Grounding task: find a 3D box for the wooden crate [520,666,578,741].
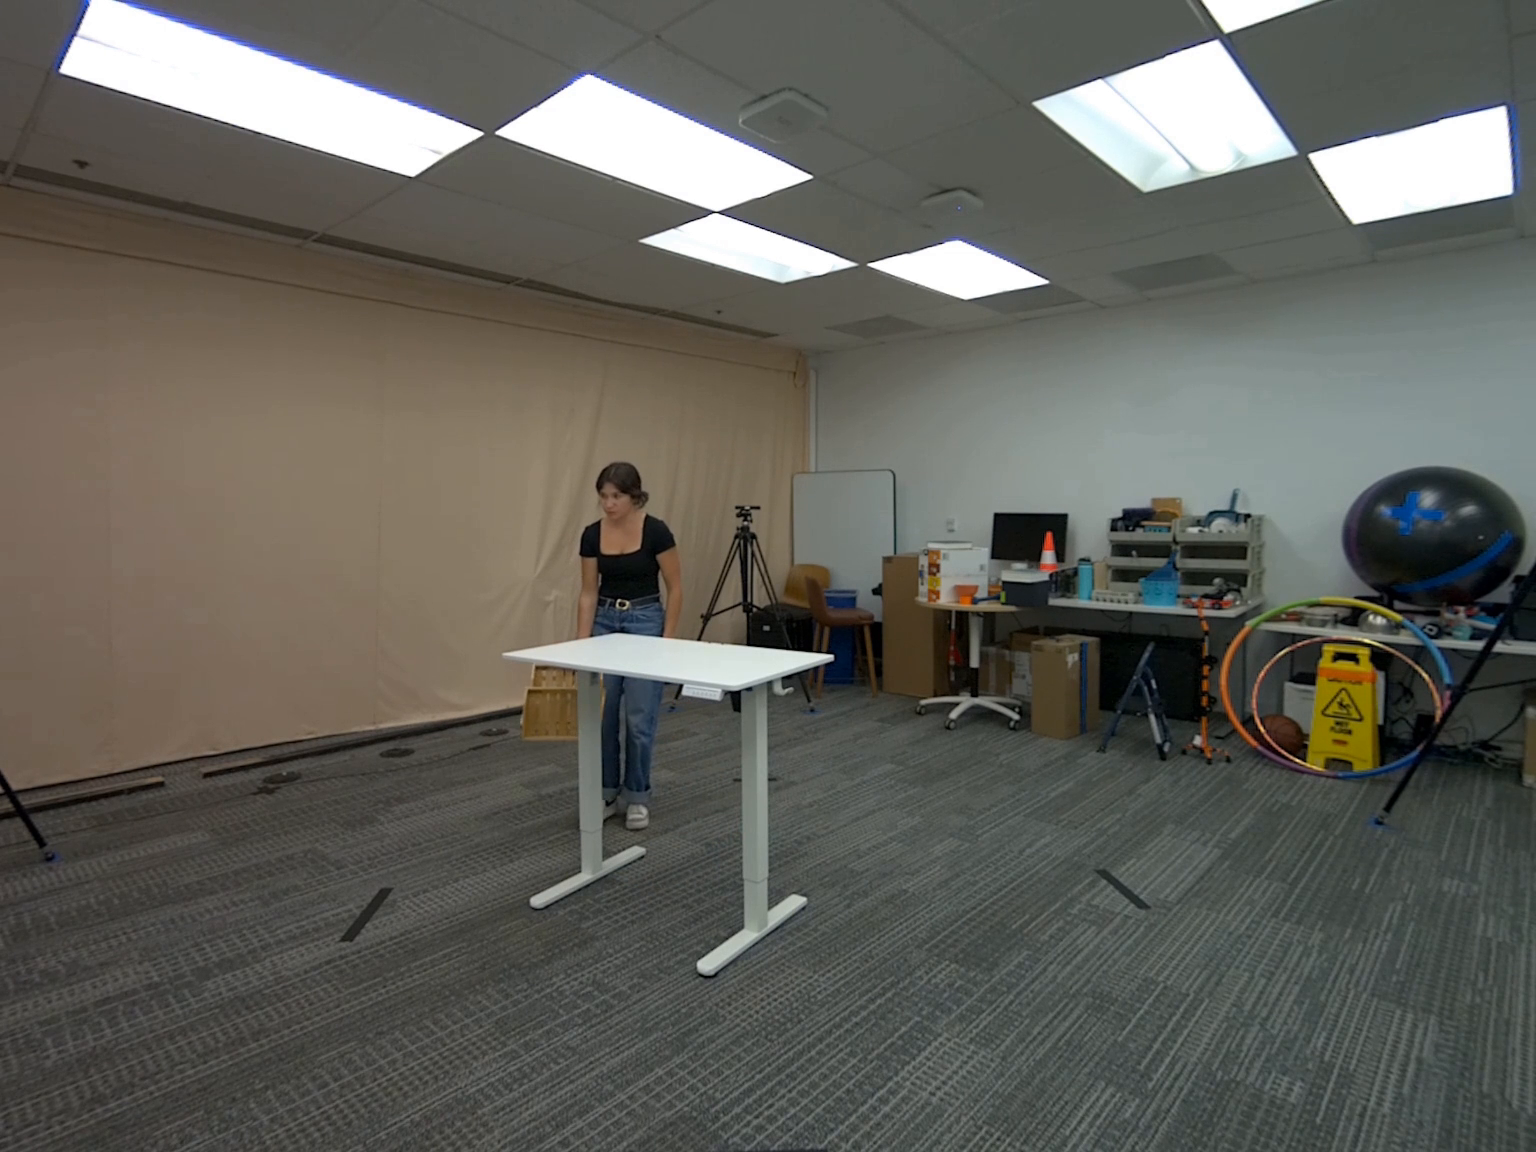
[{"bbox_3d":[-0.861,0.518,3.517,0.322,0.303,0.274,3,-6,-7],"label":"wooden crate"}]
